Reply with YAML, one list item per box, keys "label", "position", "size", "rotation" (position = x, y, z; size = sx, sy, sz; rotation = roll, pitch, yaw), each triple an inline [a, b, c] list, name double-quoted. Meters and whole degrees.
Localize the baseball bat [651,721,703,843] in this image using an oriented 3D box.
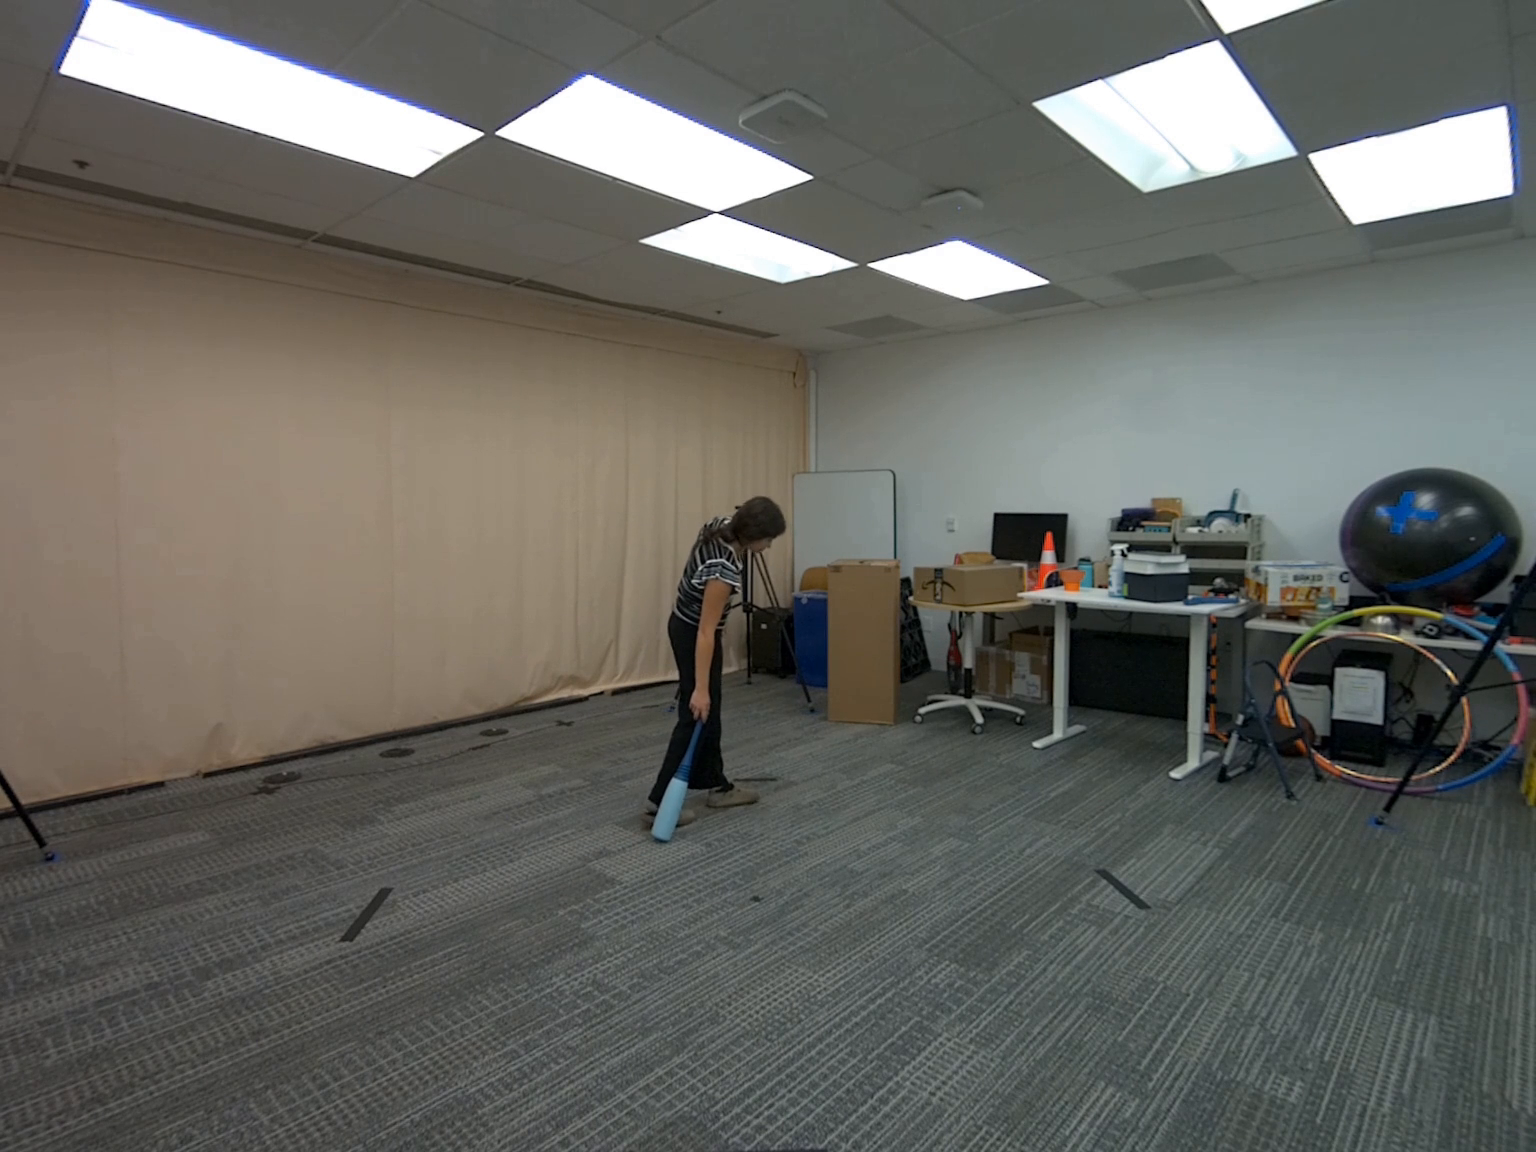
- label: "baseball bat"
  position: [-0.362, 0.841, 3.566]
  size: [0.089, 0.545, 0.088]
  rotation: [18, -14, 3]
